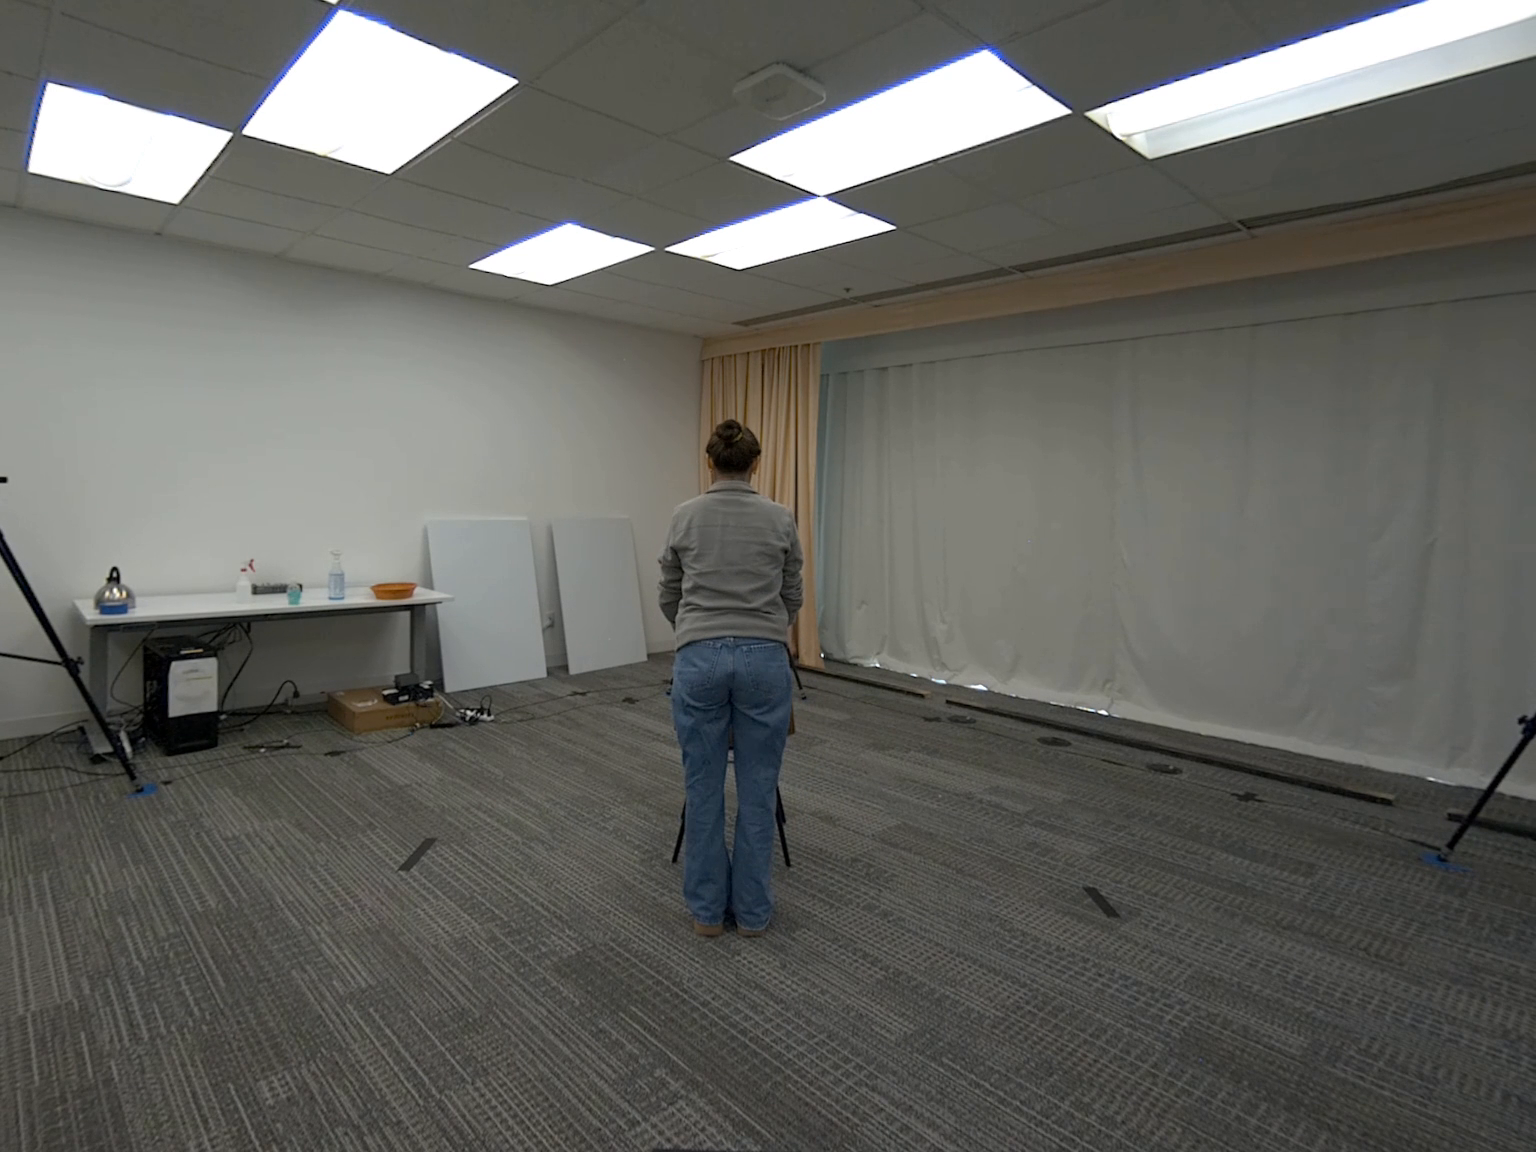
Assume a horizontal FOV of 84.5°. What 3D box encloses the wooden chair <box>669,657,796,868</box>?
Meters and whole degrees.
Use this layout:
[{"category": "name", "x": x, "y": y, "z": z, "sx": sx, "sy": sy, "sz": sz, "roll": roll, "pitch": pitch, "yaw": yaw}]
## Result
[{"category": "wooden chair", "x": -0.136, "y": 0.654, "z": 3.387, "sx": 0.478, "sy": 0.872, "sz": 0.526, "roll": 1, "pitch": 8, "yaw": 0}]
